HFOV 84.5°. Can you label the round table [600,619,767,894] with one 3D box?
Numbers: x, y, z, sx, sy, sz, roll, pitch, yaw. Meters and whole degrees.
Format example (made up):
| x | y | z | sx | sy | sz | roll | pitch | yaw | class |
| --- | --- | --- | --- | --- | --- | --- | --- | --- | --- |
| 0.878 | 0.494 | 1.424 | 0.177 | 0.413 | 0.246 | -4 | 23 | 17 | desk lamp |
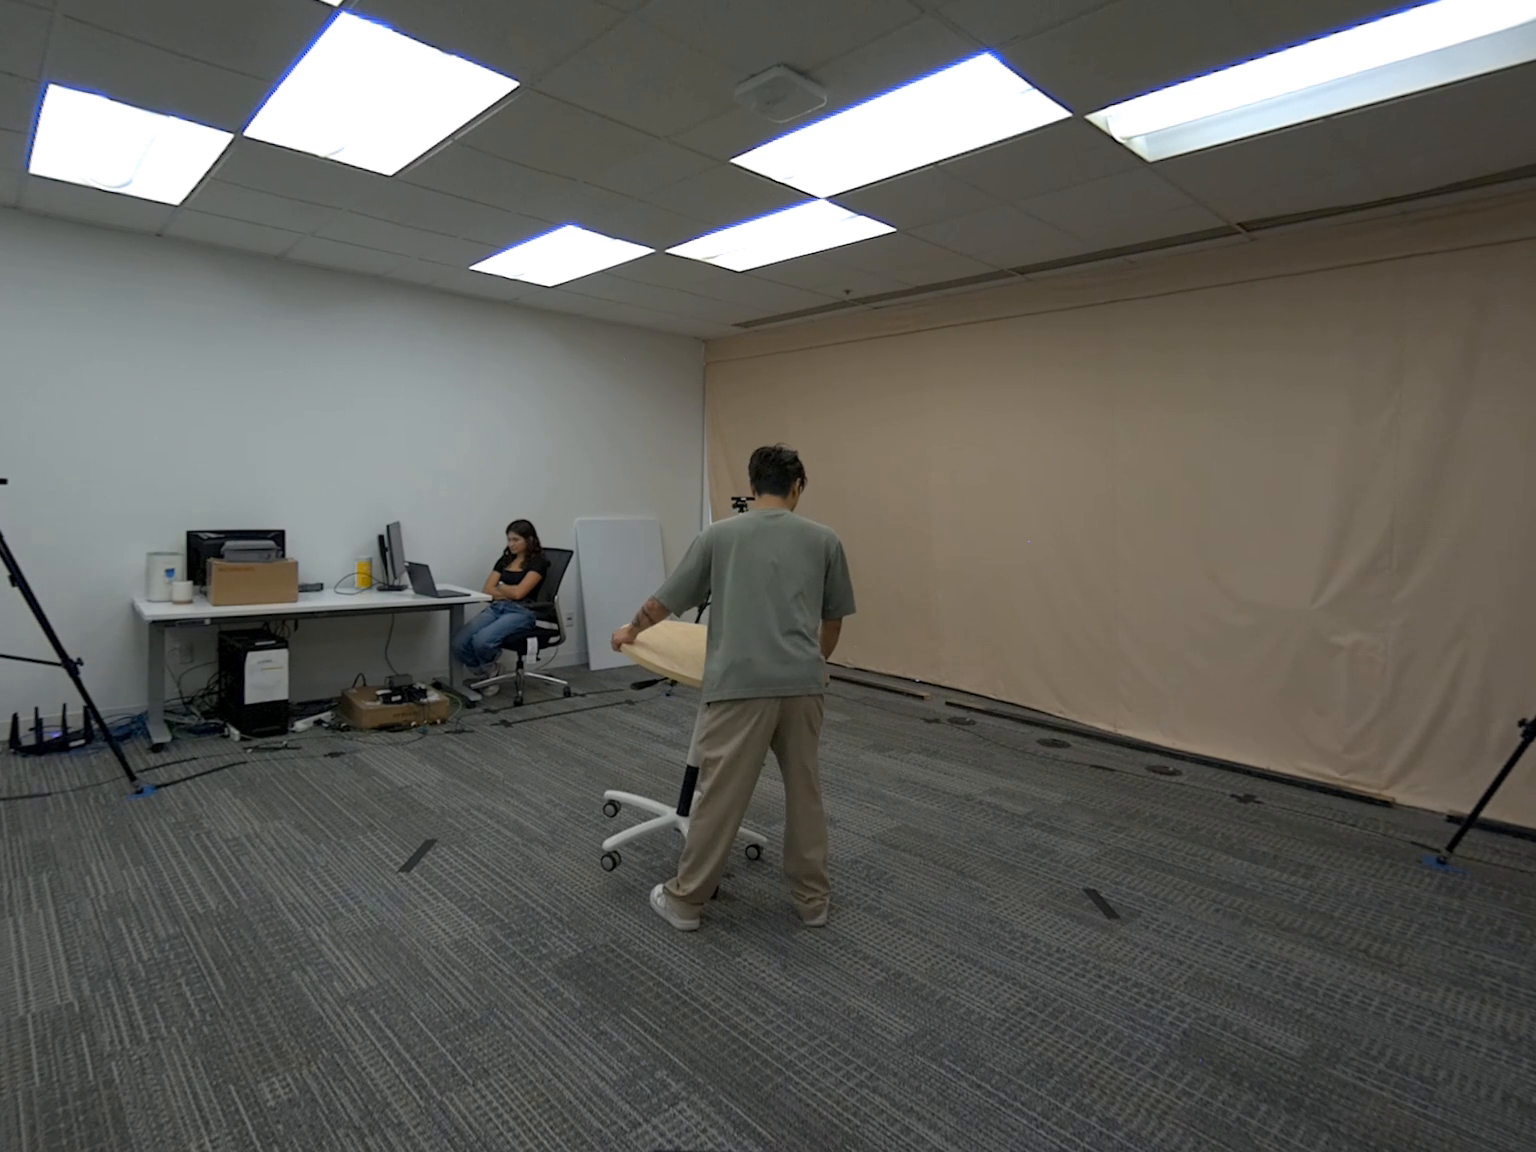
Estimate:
| x | y | z | sx | sy | sz | roll | pitch | yaw | class |
| --- | --- | --- | --- | --- | --- | --- | --- | --- | --- |
| -0.289 | 0.660 | 3.171 | 0.783 | 0.783 | 0.790 | 13 | 8 | -3 | round table |
